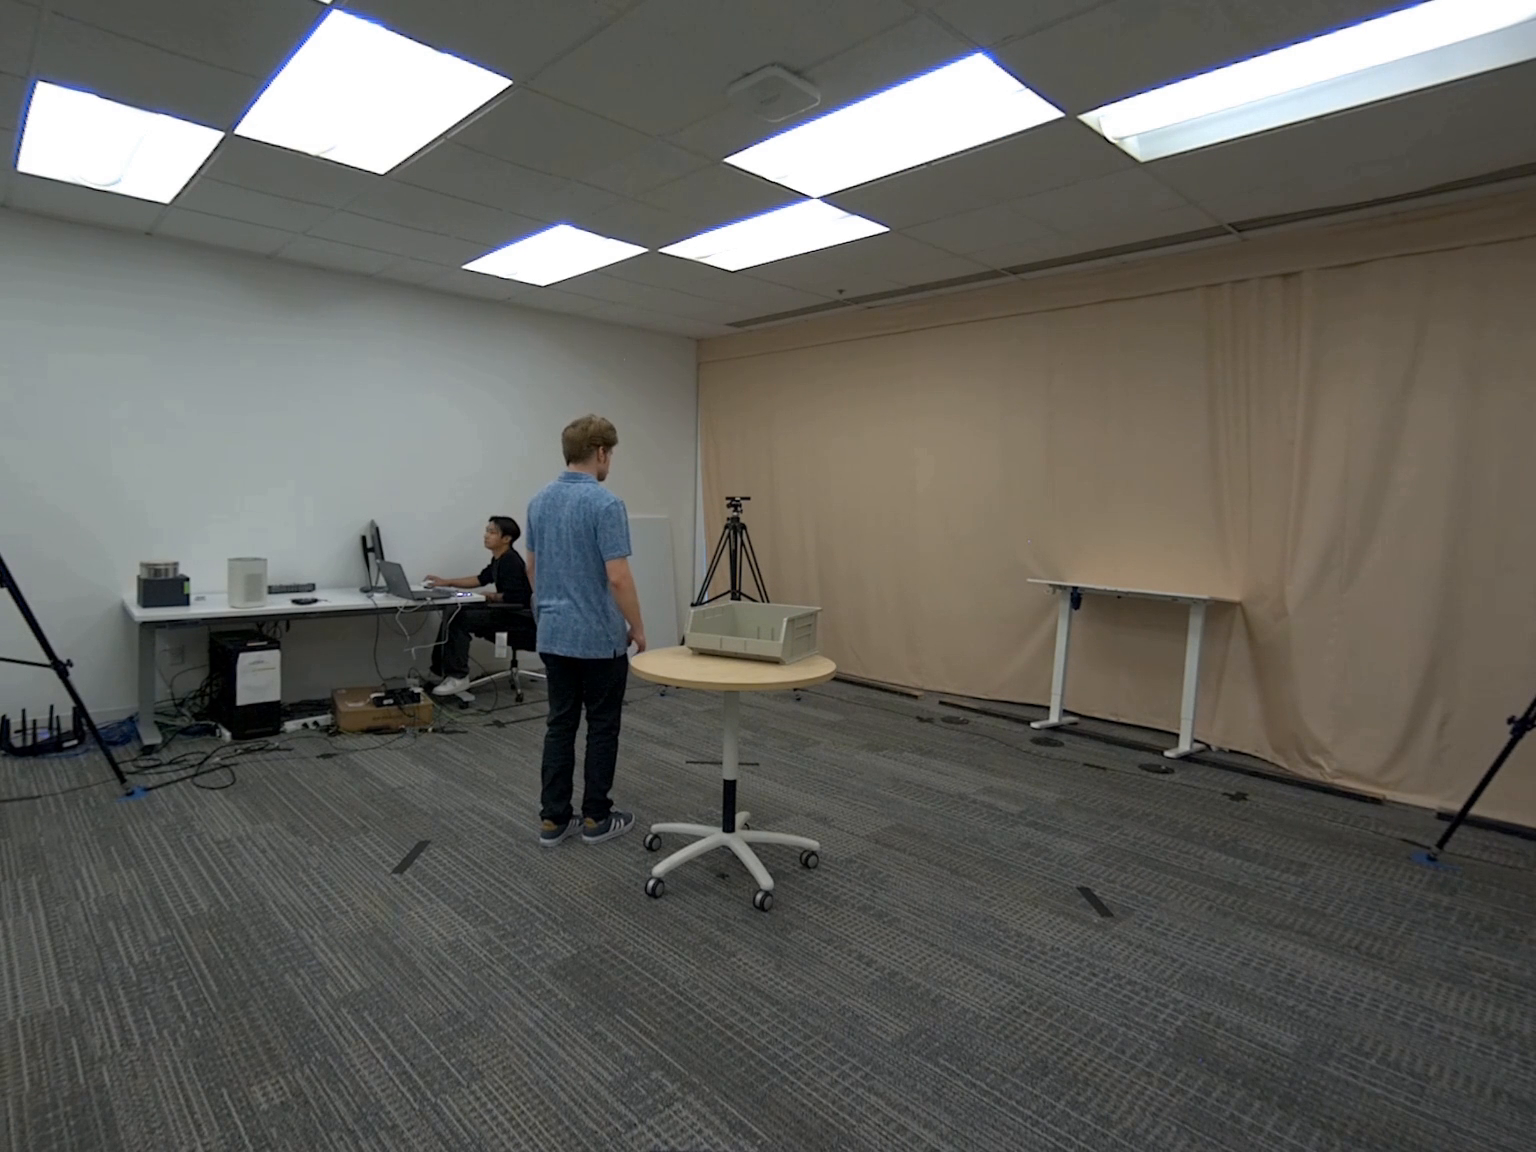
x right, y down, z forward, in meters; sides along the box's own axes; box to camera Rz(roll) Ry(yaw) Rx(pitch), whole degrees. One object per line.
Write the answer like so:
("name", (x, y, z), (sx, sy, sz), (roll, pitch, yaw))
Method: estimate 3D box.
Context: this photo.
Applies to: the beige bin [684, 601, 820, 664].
("beige bin", (-0.058, 0.219, 3.302), (0.431, 0.189, 0.370), (3, 3, 28))
